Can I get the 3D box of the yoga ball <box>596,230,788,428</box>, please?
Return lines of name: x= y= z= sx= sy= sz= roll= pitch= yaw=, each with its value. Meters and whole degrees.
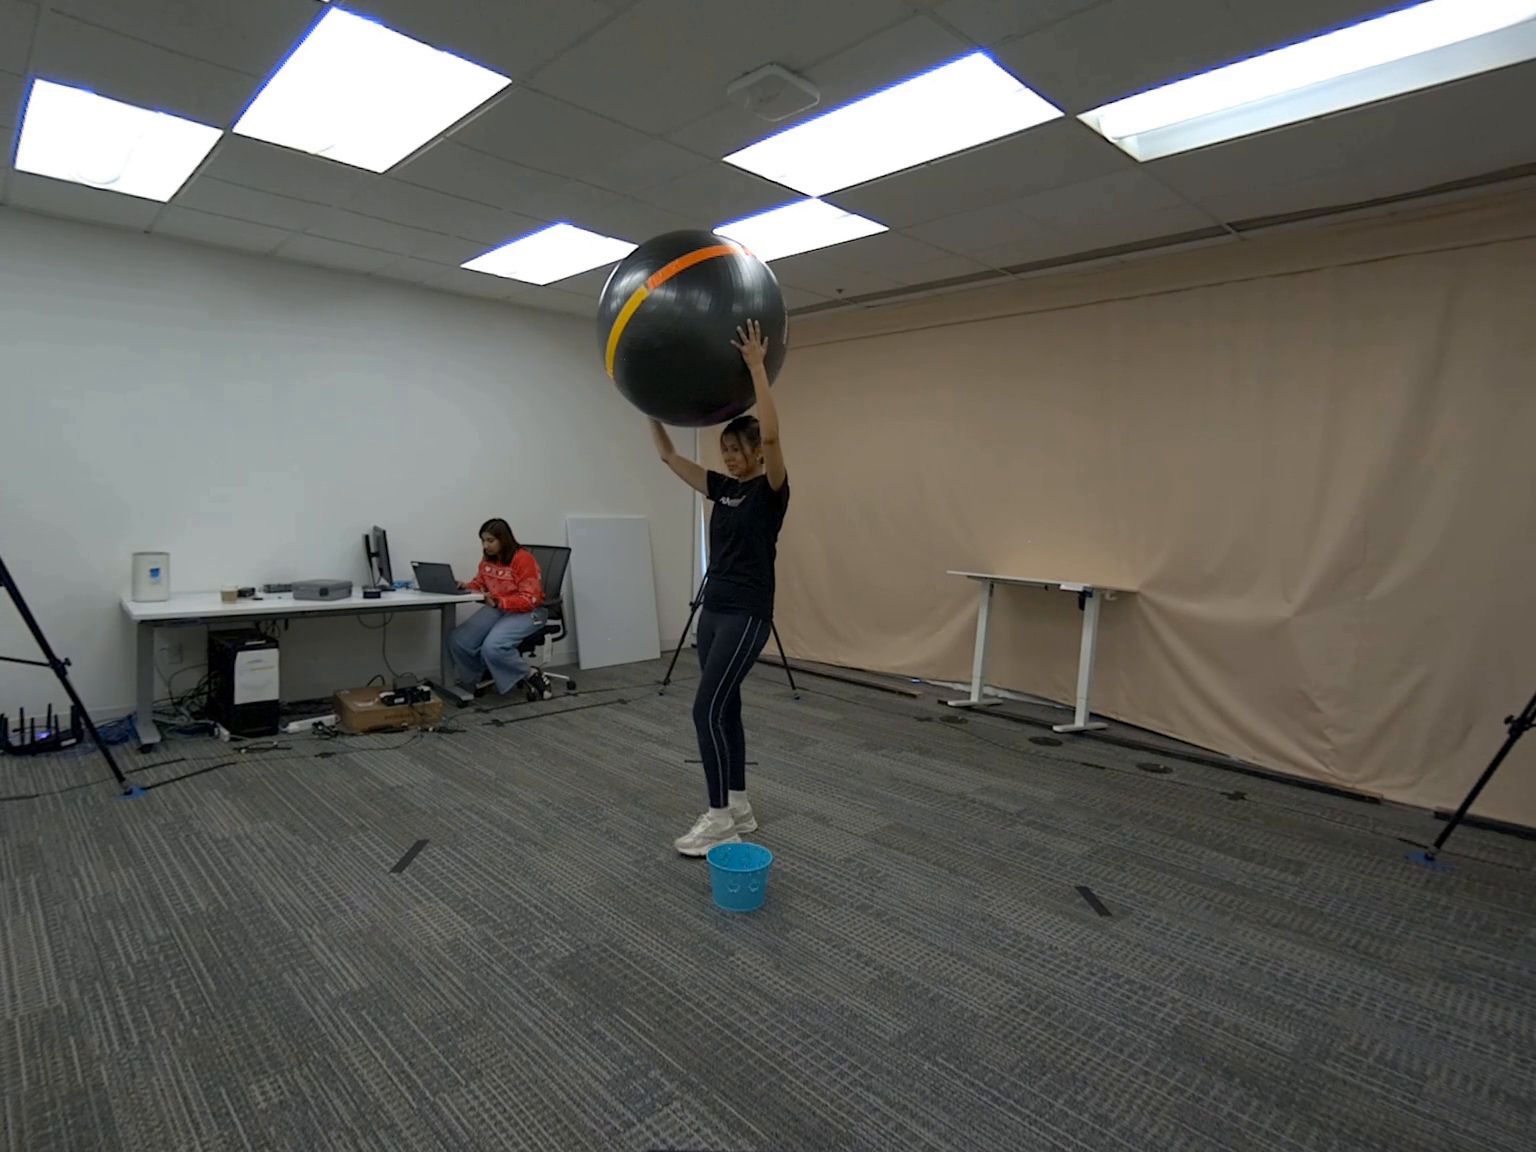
yoga ball: x=-0.302 y=-0.965 z=3.331 sx=0.757 sy=0.756 sz=0.761 roll=1 pitch=4 yaw=-1
